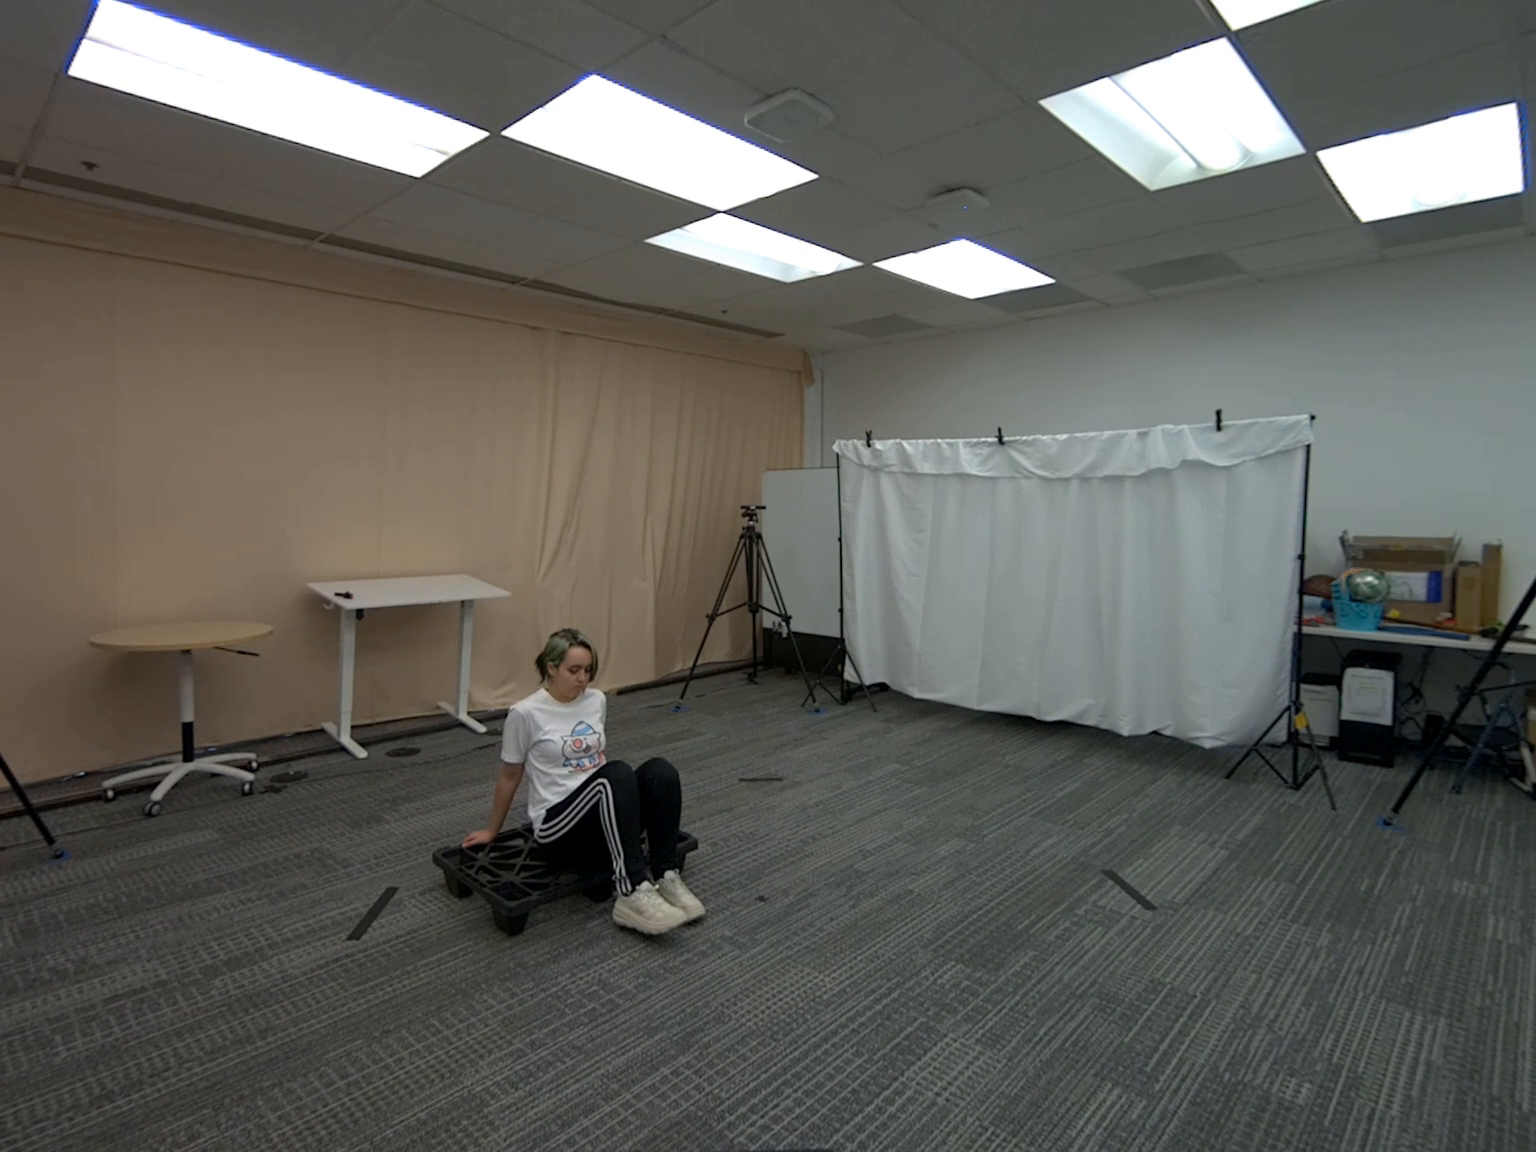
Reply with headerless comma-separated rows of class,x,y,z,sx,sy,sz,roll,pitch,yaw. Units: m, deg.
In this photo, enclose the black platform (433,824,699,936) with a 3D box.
black platform,-0.742,1.070,3.144,0.781,0.143,0.625,-6,8,-43
